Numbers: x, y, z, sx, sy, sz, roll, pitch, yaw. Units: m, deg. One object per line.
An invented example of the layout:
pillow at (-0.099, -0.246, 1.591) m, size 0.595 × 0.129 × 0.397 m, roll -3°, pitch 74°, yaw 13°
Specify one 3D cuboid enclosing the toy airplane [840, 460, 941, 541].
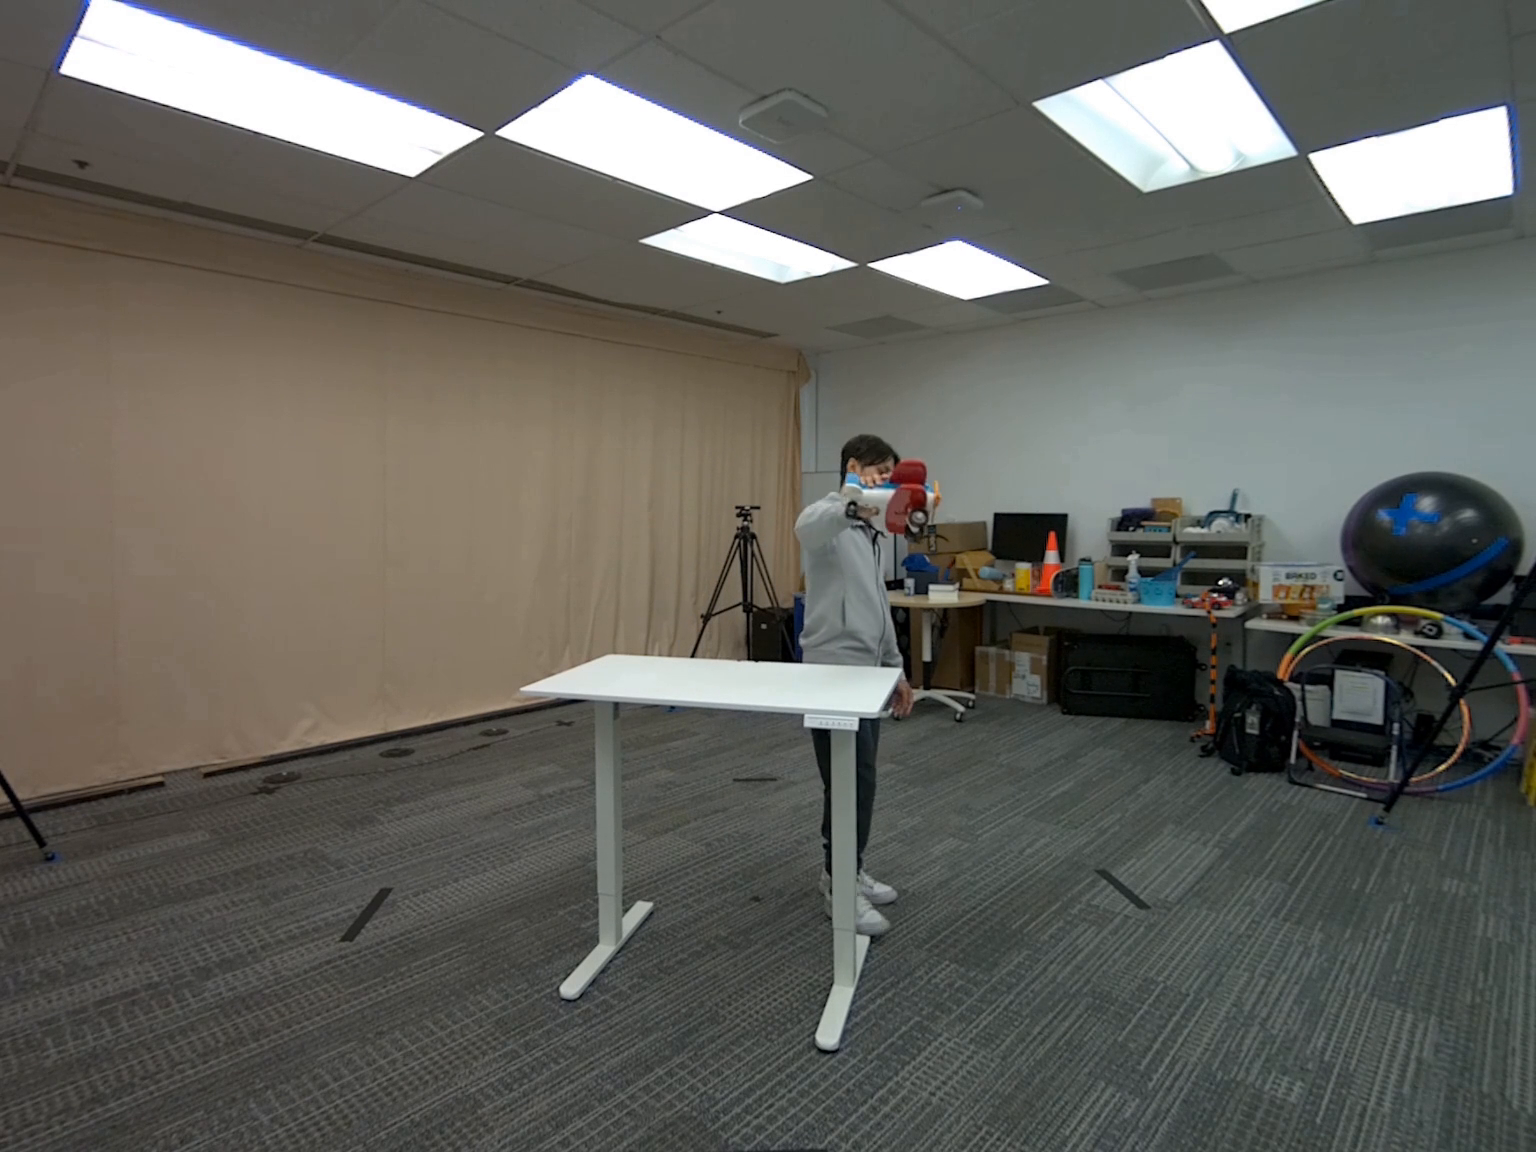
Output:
toy airplane at (0.332, -0.207, 2.278) m, size 0.254 × 0.157 × 0.255 m, roll 29°, pitch -26°, yaw -16°
